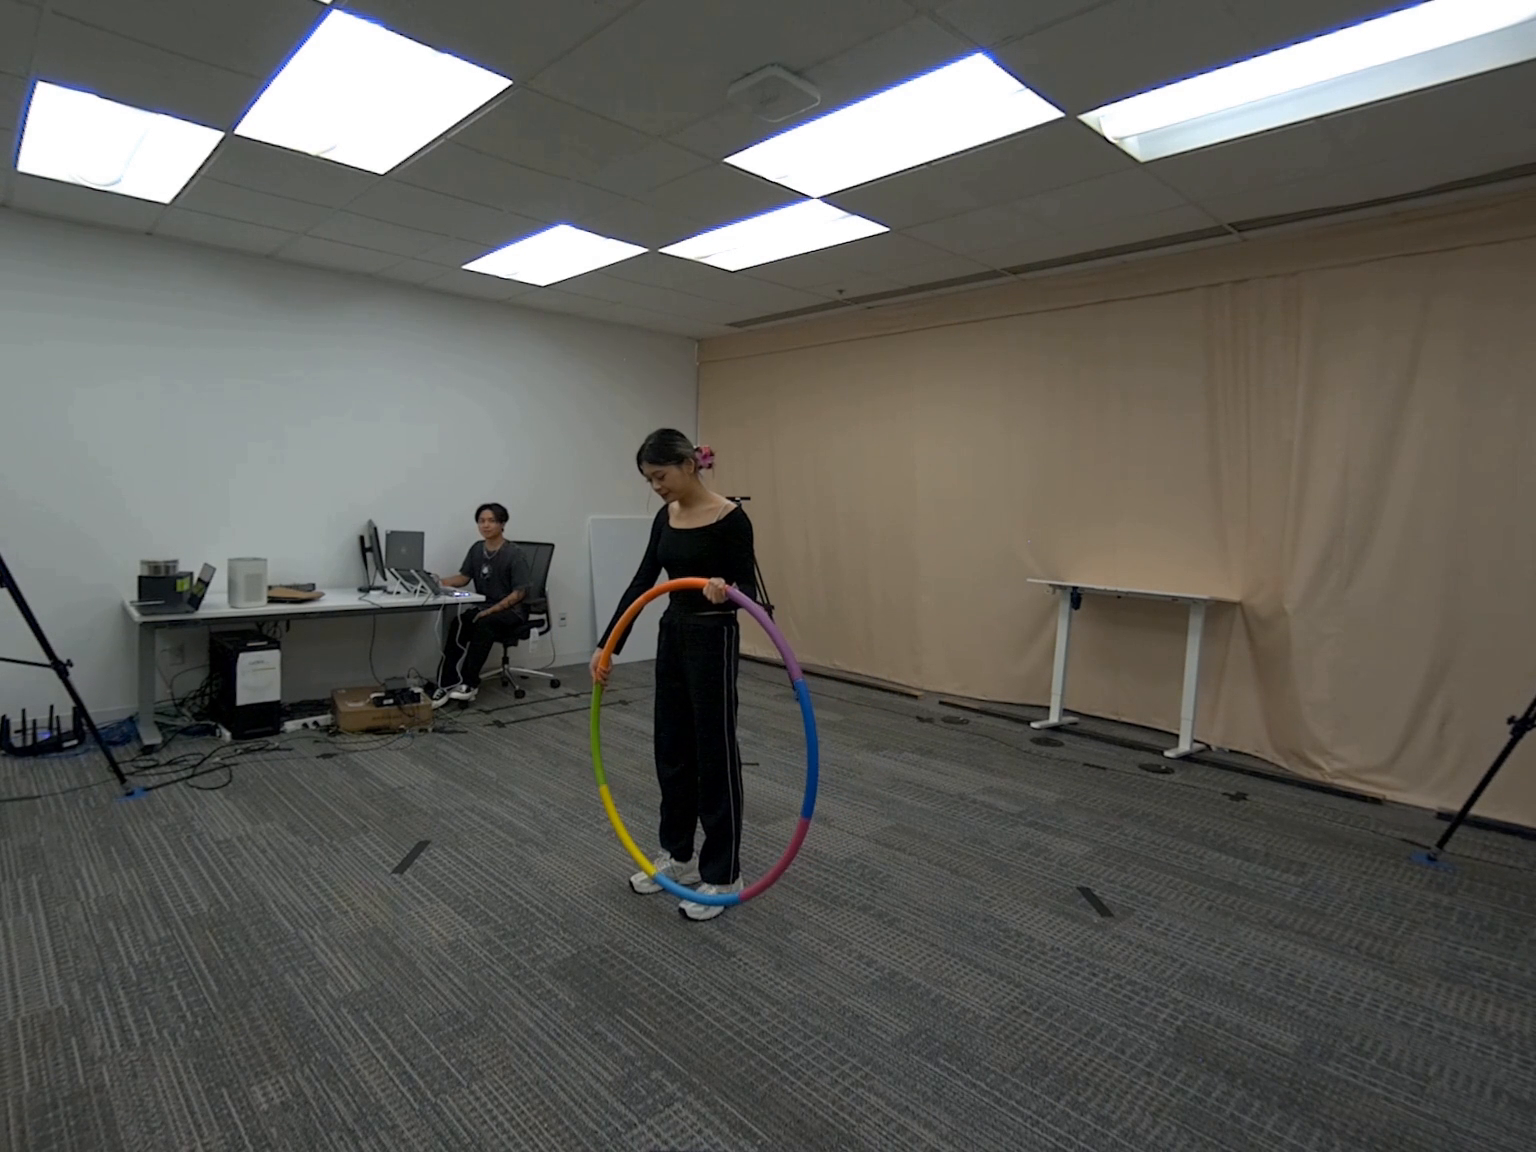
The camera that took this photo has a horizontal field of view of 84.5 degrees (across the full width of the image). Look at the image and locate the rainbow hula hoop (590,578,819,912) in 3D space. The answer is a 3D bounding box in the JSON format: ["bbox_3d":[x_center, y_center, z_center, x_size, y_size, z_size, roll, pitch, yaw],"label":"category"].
[{"bbox_3d":[-0.243,0.507,2.617,1.003,0.978,0.035,5,1,41],"label":"rainbow hula hoop"}]
